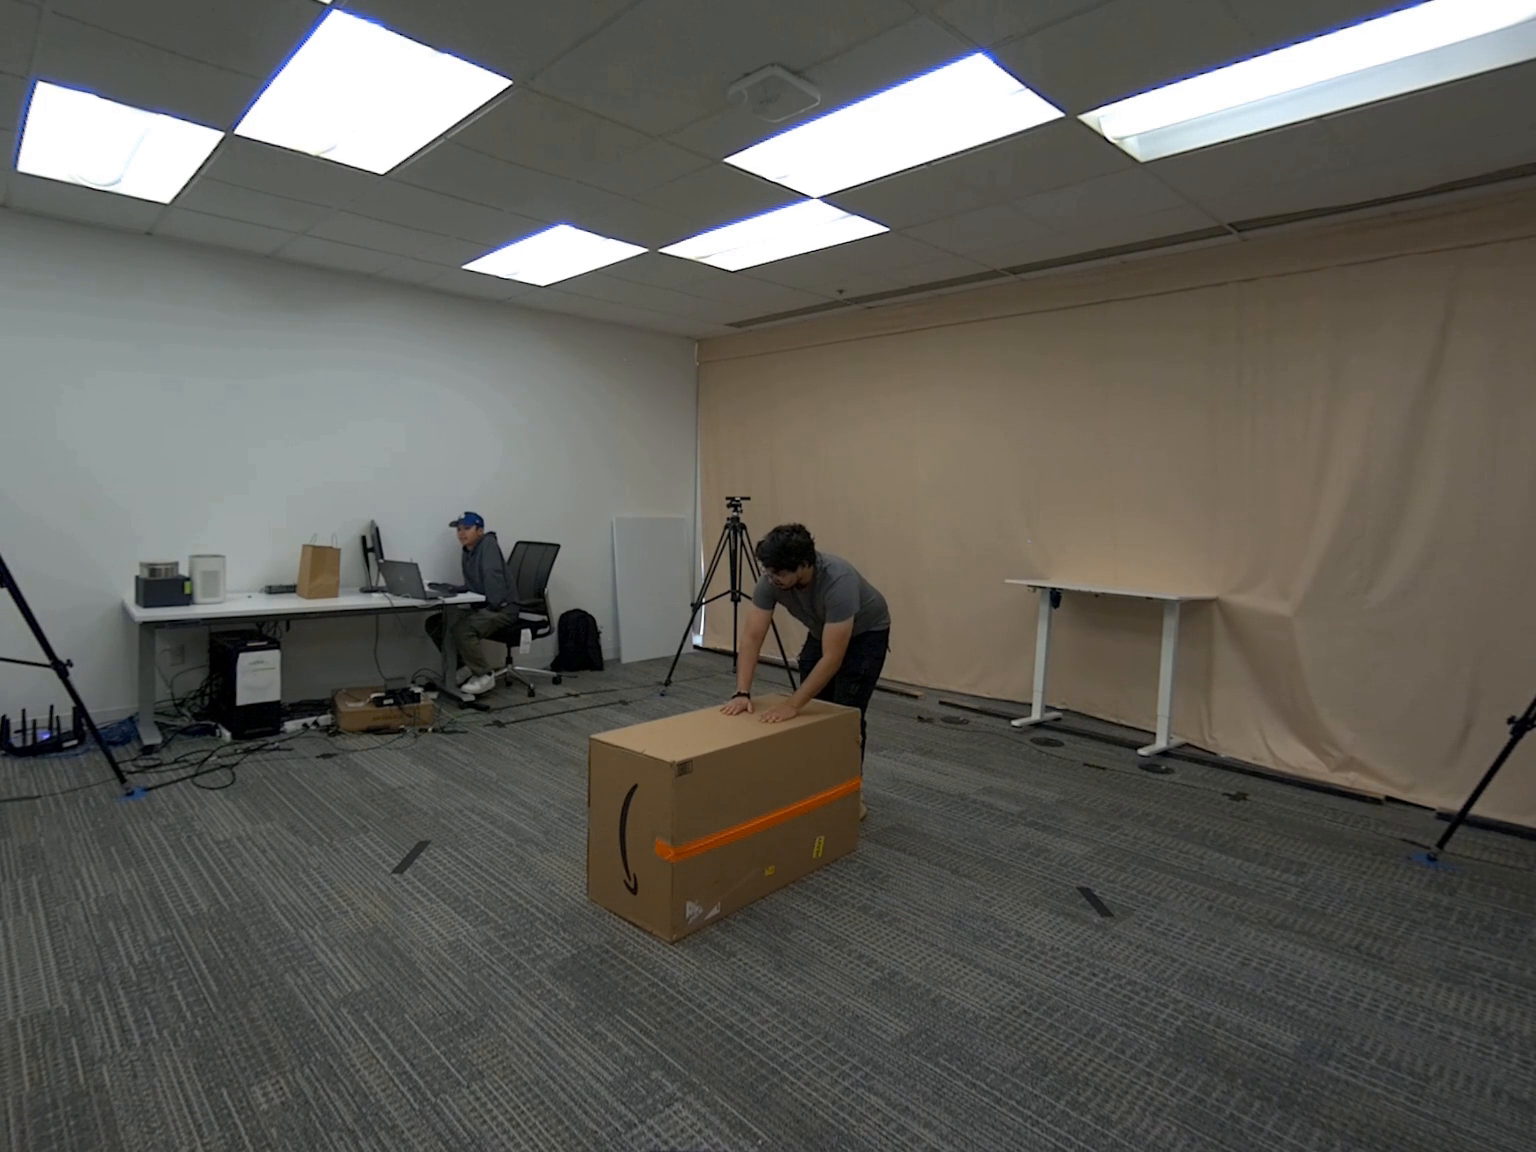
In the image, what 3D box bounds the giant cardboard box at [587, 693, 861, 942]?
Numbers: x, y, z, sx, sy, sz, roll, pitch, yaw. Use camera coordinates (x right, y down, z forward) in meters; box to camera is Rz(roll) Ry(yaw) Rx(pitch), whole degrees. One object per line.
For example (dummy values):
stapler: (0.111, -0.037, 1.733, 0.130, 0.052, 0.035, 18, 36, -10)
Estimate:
giant cardboard box: (-0.131, 0.819, 3.105, 0.437, 0.576, 1.003, 5, 6, 41)
